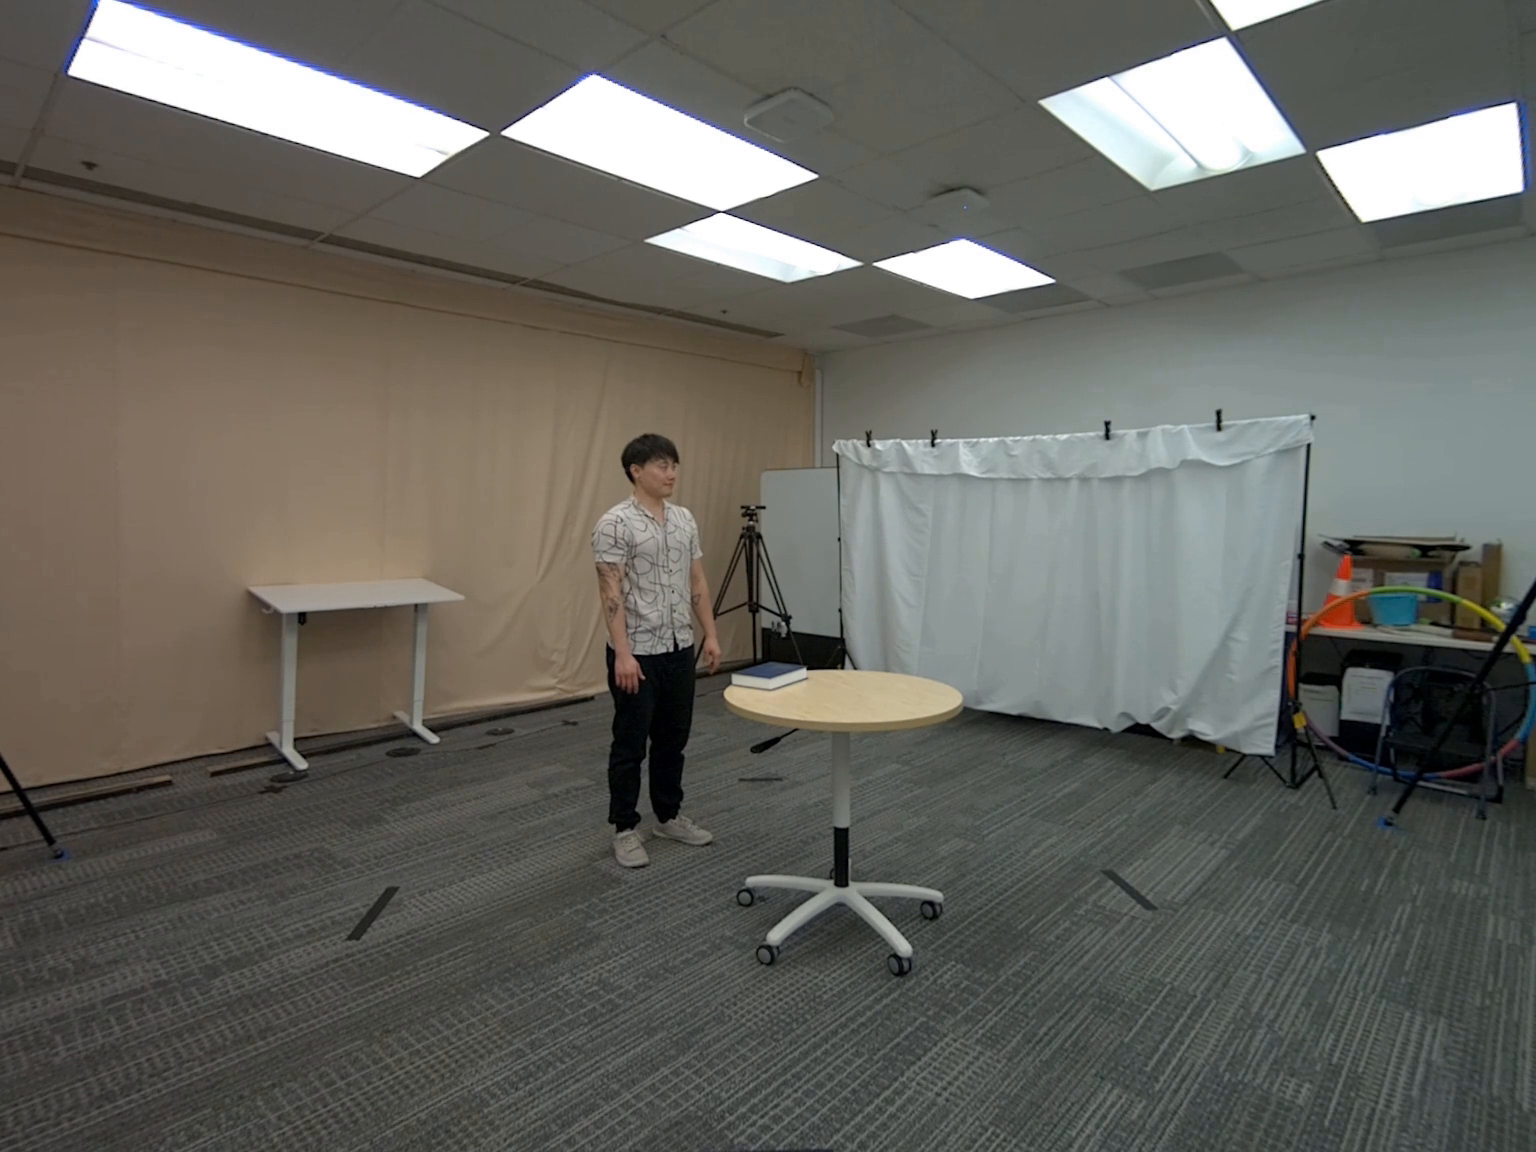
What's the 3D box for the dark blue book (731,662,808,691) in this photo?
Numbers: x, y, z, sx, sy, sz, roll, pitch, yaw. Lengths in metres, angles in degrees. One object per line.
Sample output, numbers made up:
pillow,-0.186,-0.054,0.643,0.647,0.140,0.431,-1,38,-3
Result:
dark blue book,0.011,0.348,2.931,0.168,0.045,0.238,2,5,35
